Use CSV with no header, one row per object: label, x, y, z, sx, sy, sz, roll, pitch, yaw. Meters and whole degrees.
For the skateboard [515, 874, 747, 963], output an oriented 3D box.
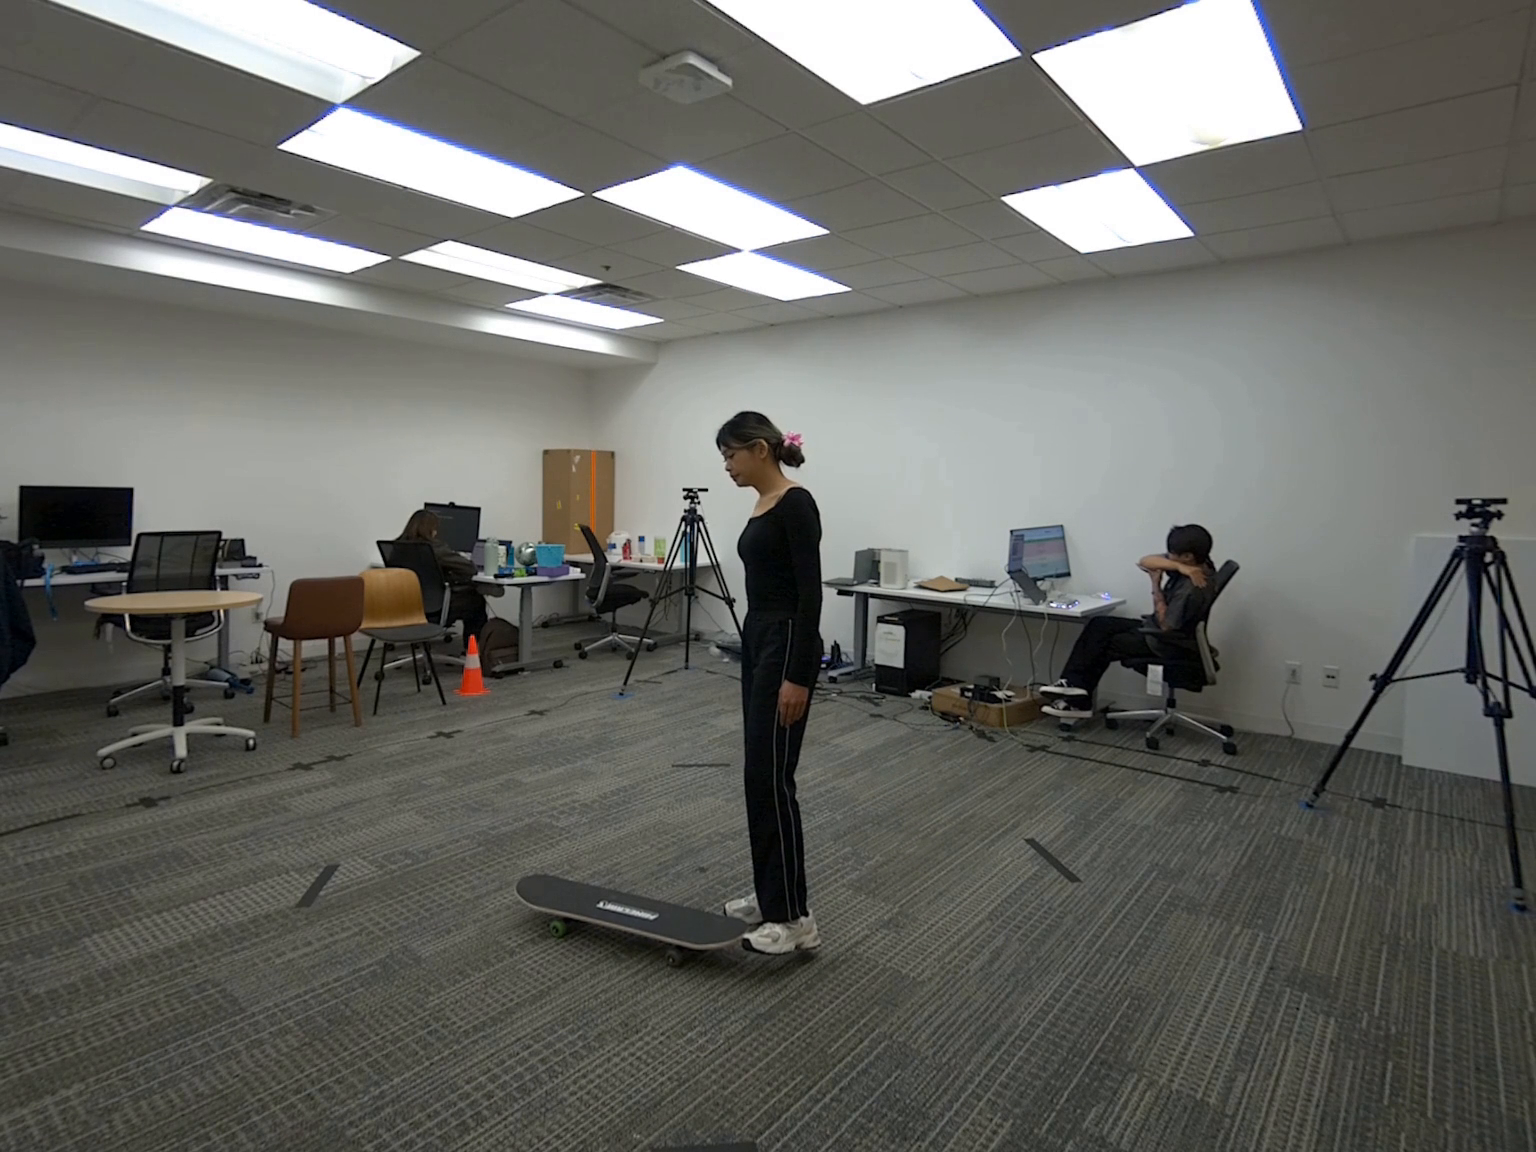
skateboard,-0.449,1.053,2.621,0.803,0.110,0.190,3,5,21
